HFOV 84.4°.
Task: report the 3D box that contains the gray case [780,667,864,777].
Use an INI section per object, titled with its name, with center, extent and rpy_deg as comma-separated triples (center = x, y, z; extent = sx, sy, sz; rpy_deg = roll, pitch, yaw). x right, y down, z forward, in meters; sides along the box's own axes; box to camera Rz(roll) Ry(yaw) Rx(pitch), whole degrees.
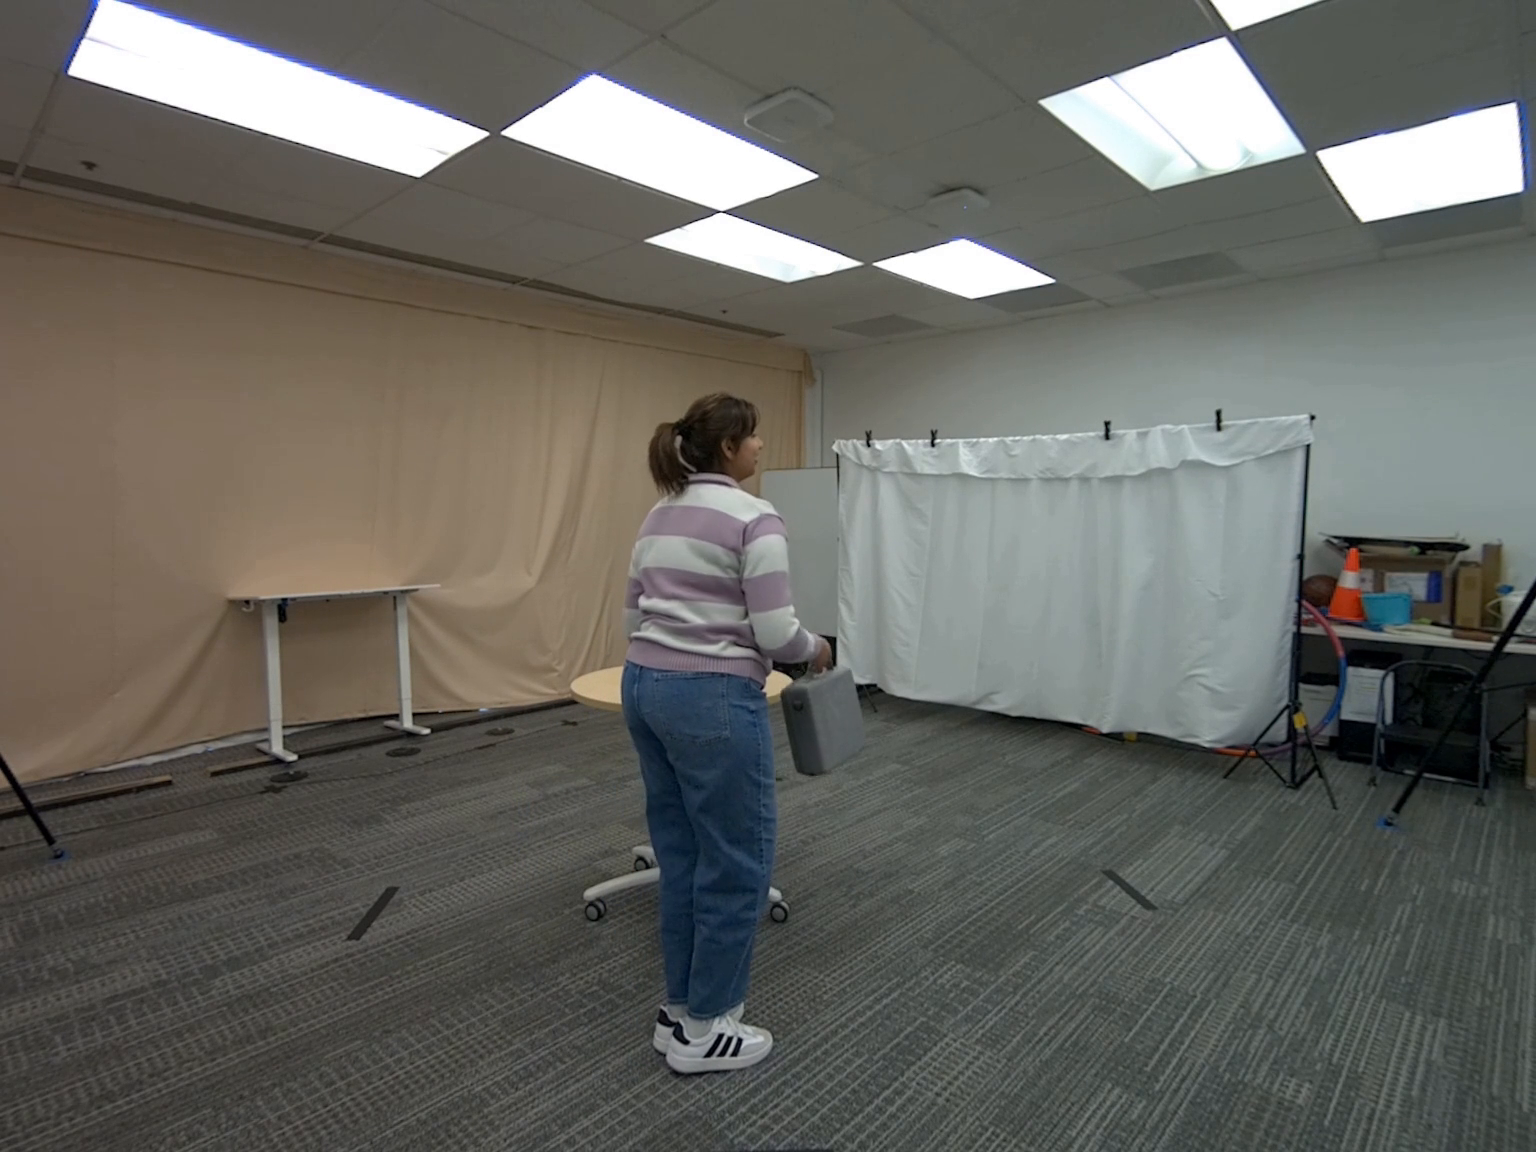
[gray case]
center = 0.162, 0.403, 2.354
extent = 0.107, 0.260, 0.250
rpy_deg = -10, 4, 39
